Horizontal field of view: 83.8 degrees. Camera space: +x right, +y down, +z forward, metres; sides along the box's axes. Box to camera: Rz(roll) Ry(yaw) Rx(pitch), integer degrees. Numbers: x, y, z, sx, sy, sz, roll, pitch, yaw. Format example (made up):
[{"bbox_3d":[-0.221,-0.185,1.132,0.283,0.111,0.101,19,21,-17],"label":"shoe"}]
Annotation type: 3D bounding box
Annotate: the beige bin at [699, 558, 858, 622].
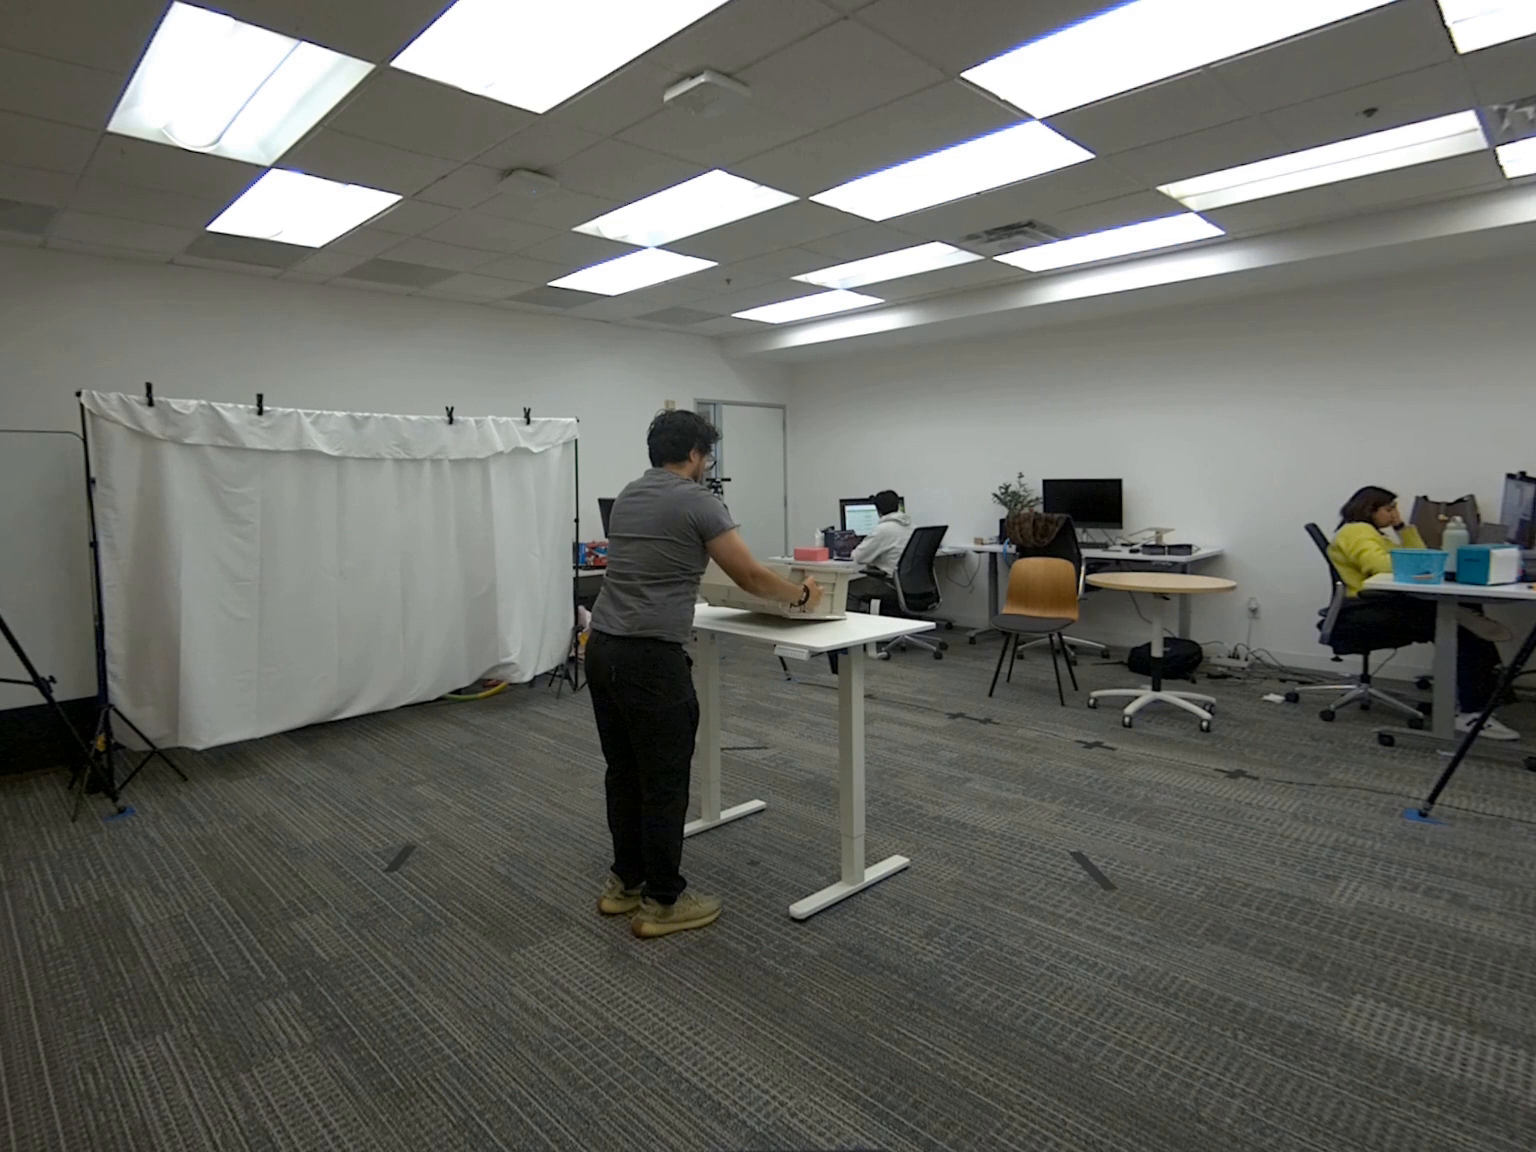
[{"bbox_3d":[0.027,0.048,3.101,0.365,0.189,0.435,7,-2,-45],"label":"beige bin"}]
